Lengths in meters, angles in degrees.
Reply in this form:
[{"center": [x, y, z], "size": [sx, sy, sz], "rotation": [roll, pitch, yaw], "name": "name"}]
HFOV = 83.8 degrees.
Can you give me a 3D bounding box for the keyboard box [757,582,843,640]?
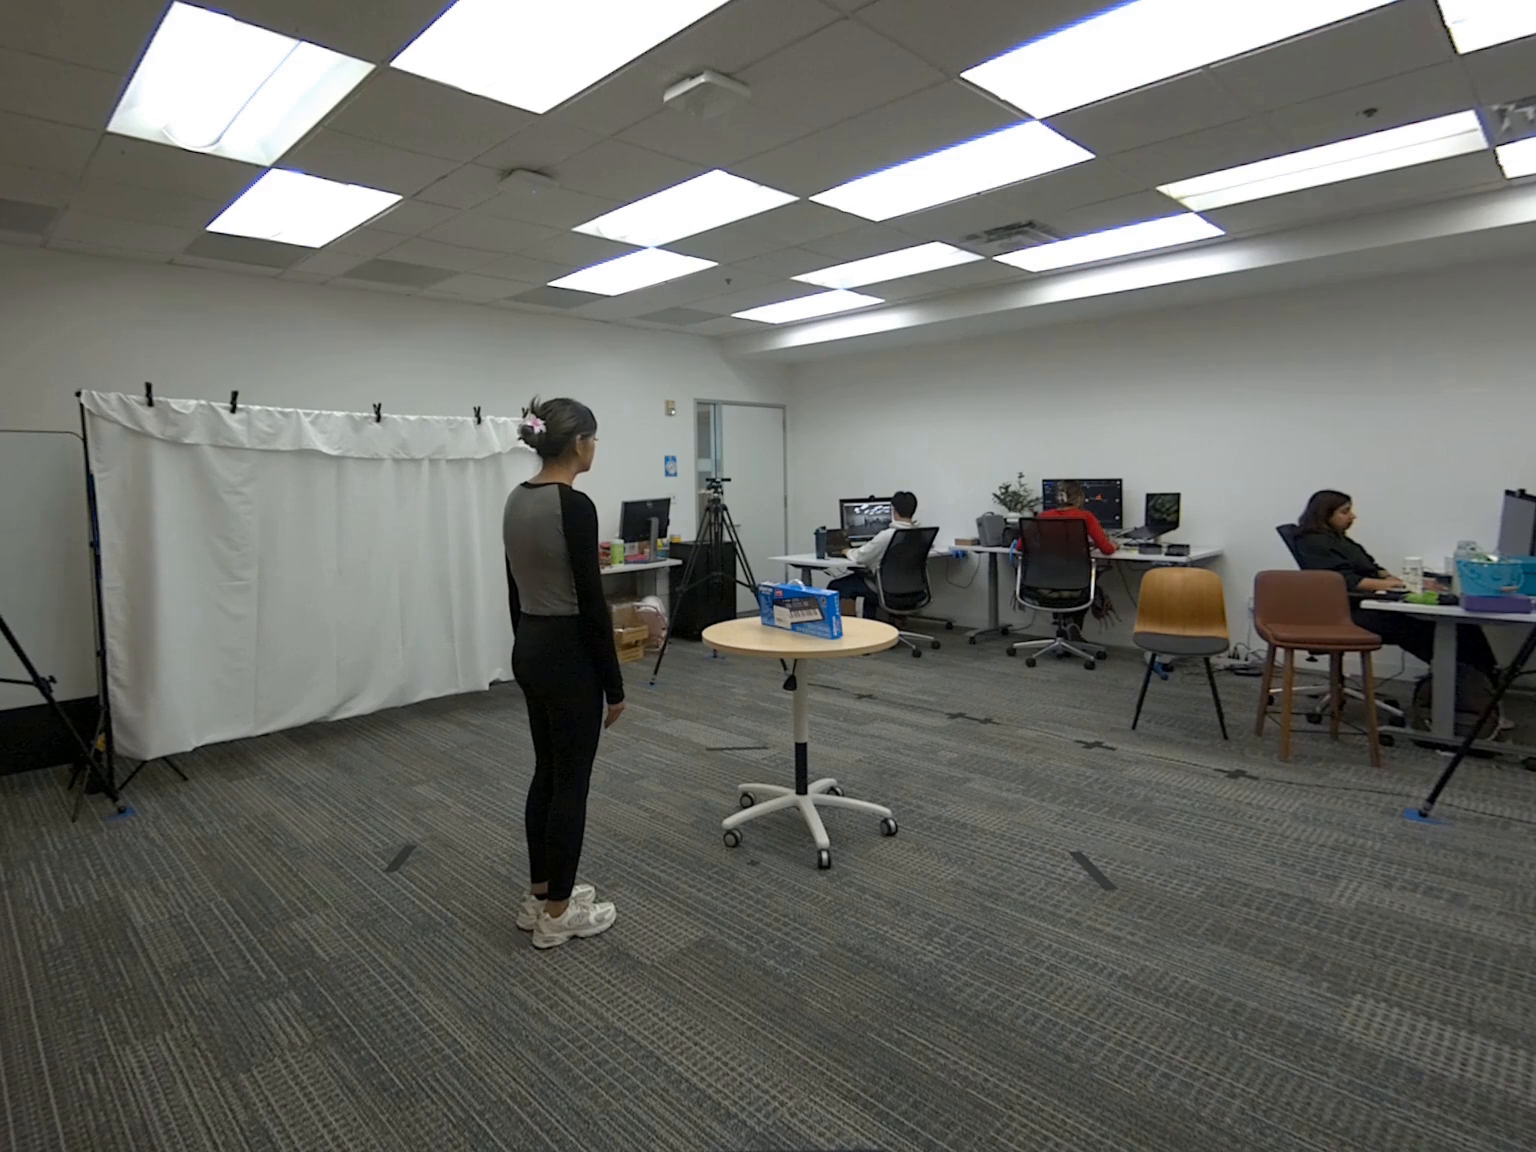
[{"center": [0.121, 0.132, 3.354], "size": [0.058, 0.174, 0.450], "rotation": [-11, 10, -34], "name": "keyboard box"}]
